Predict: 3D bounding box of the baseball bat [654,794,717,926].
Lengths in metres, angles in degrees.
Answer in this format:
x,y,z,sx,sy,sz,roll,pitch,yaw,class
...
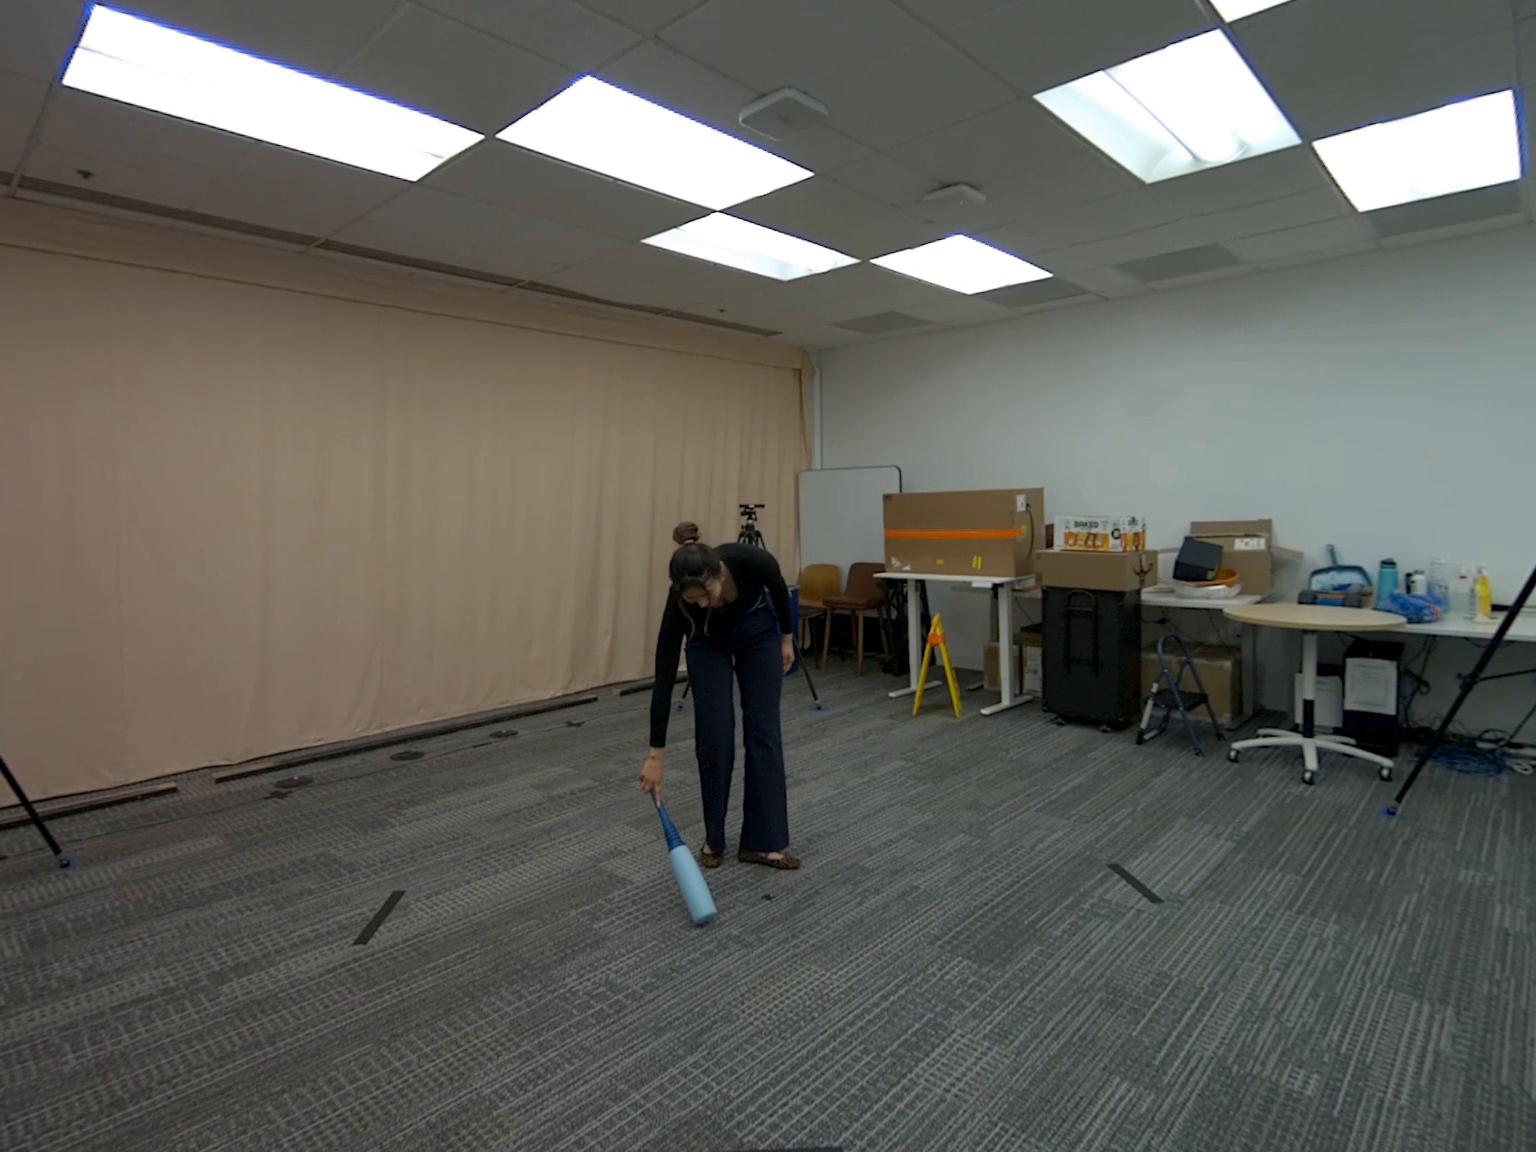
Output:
x,y,z,sx,sy,sz,roll,pitch,yaw,class
-0.314,0.935,2.930,0.086,0.089,0.559,-4,47,-37,baseball bat
